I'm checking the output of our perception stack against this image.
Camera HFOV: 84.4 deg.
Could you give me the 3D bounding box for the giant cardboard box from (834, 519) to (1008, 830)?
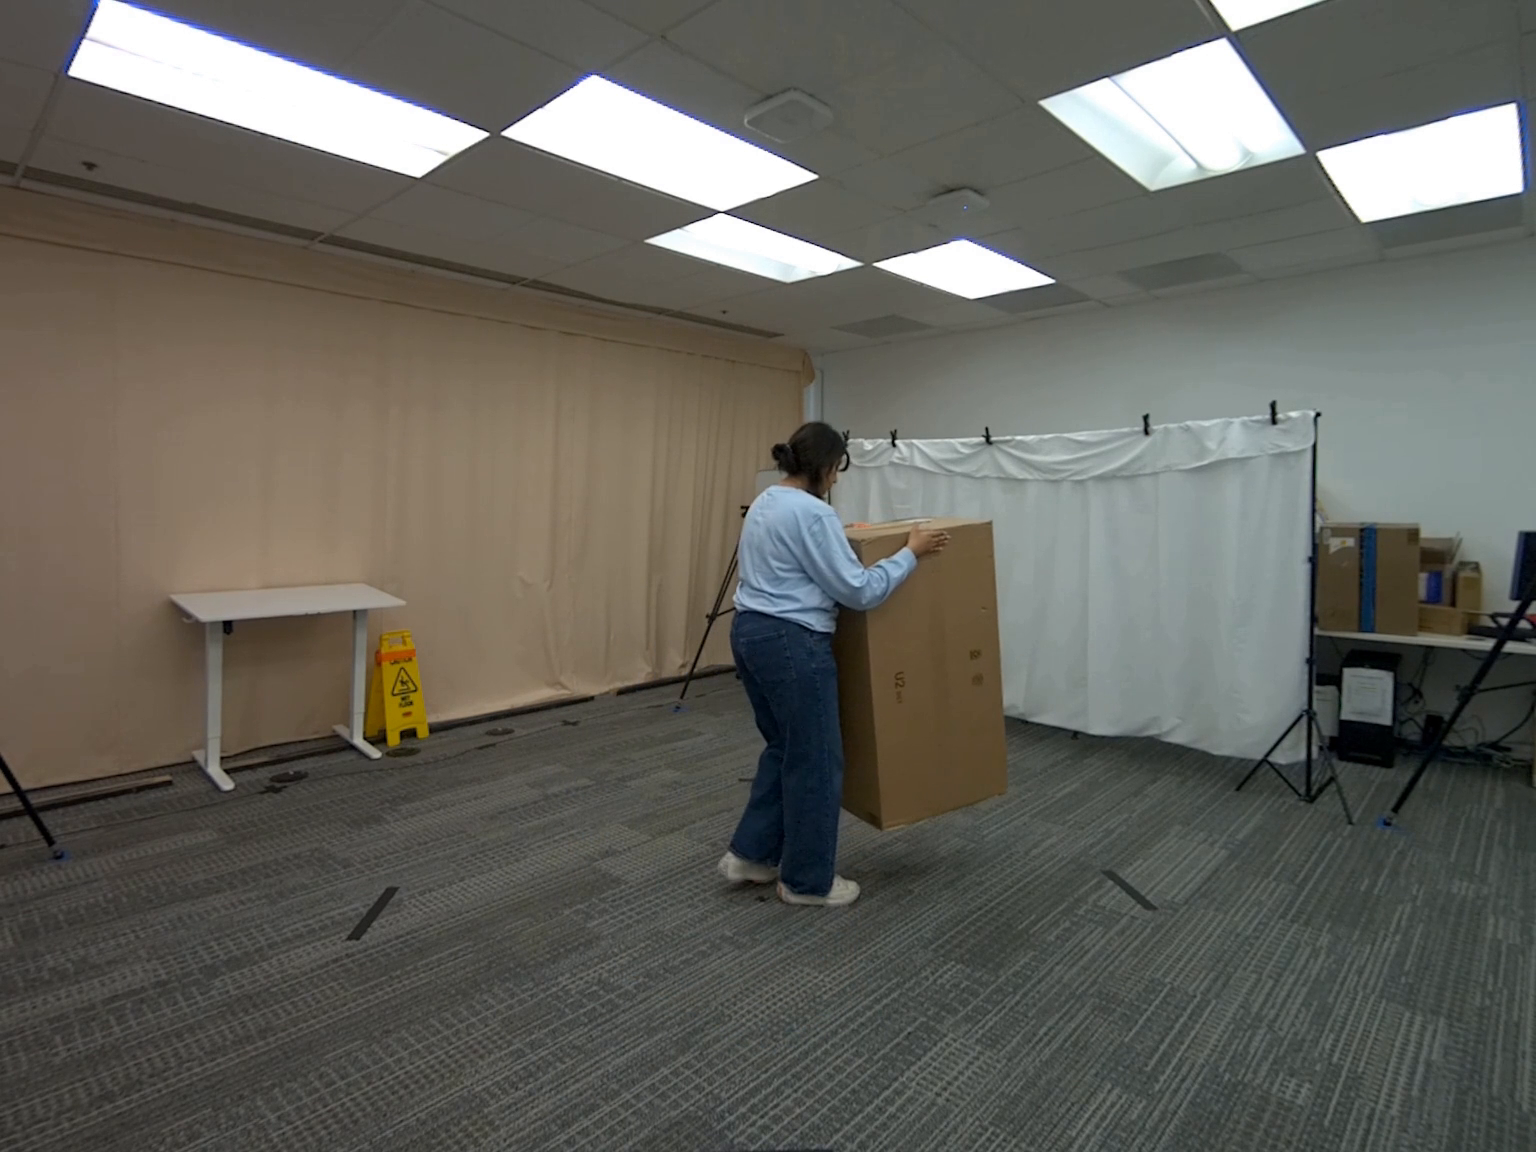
[{"bbox_3d":[0.510,0.327,3.152,0.571,1.022,0.459,-8,7,-25],"label":"giant cardboard box"}]
